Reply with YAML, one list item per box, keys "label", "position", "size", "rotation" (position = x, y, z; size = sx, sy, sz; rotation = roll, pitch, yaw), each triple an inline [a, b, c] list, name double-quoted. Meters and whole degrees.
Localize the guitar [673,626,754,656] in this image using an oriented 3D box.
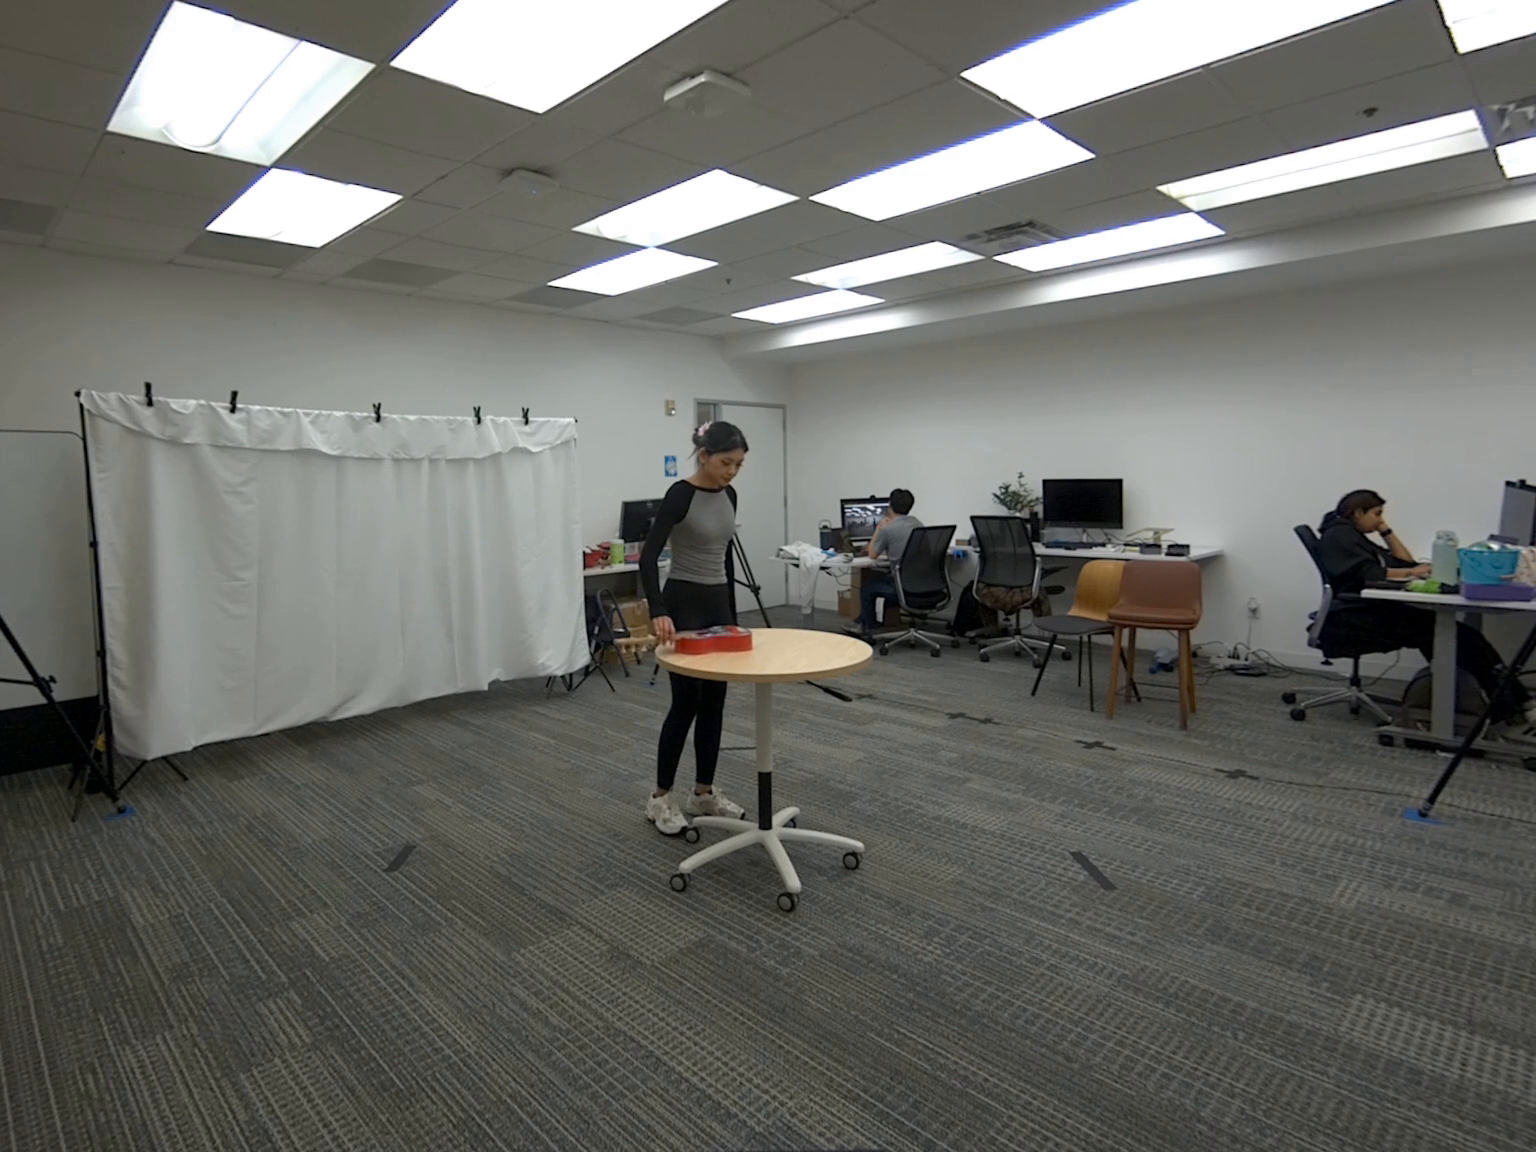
- label: "guitar"
  position: [-0.304, 0.231, 3.017]
  size: [0.490, 0.070, 0.197]
  rotation: [-2, 8, -18]
